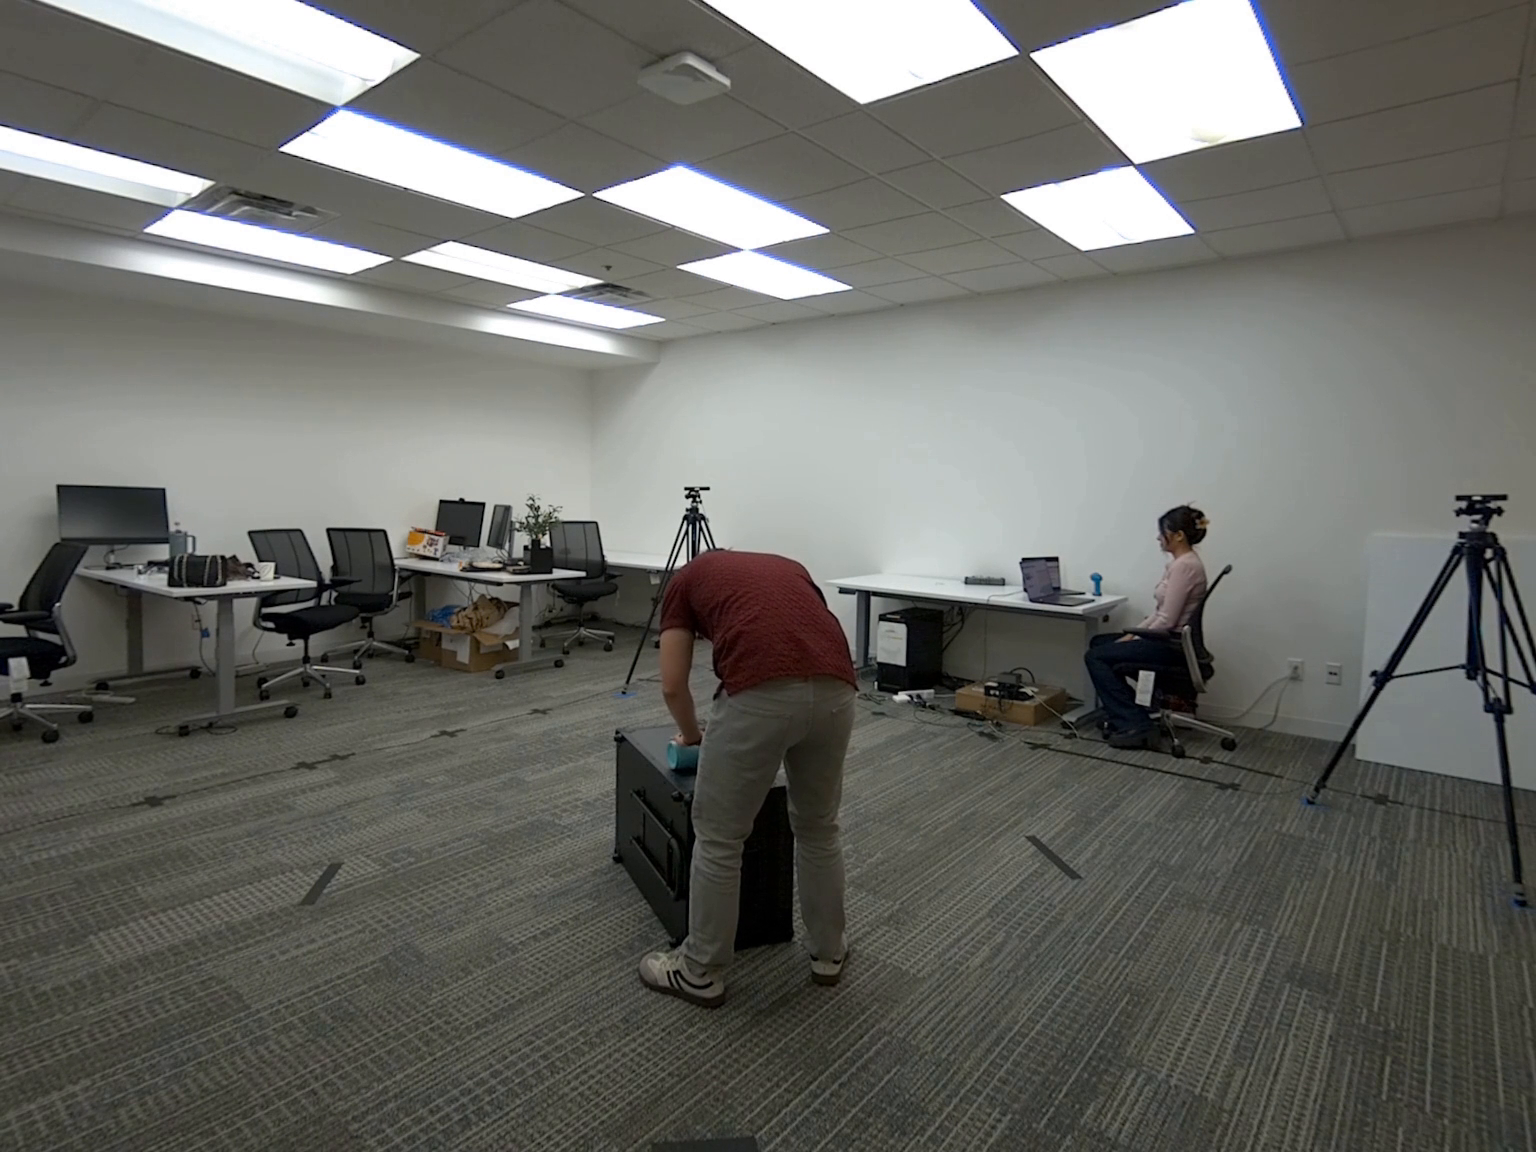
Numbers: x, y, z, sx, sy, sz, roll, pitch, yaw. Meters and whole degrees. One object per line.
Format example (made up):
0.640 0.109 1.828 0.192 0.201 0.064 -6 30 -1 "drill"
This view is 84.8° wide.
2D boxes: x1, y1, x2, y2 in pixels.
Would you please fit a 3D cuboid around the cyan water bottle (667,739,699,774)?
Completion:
-0.199 0.562 2.785 0.276 0.092 0.095 -2 5 -27 "cyan water bottle"
